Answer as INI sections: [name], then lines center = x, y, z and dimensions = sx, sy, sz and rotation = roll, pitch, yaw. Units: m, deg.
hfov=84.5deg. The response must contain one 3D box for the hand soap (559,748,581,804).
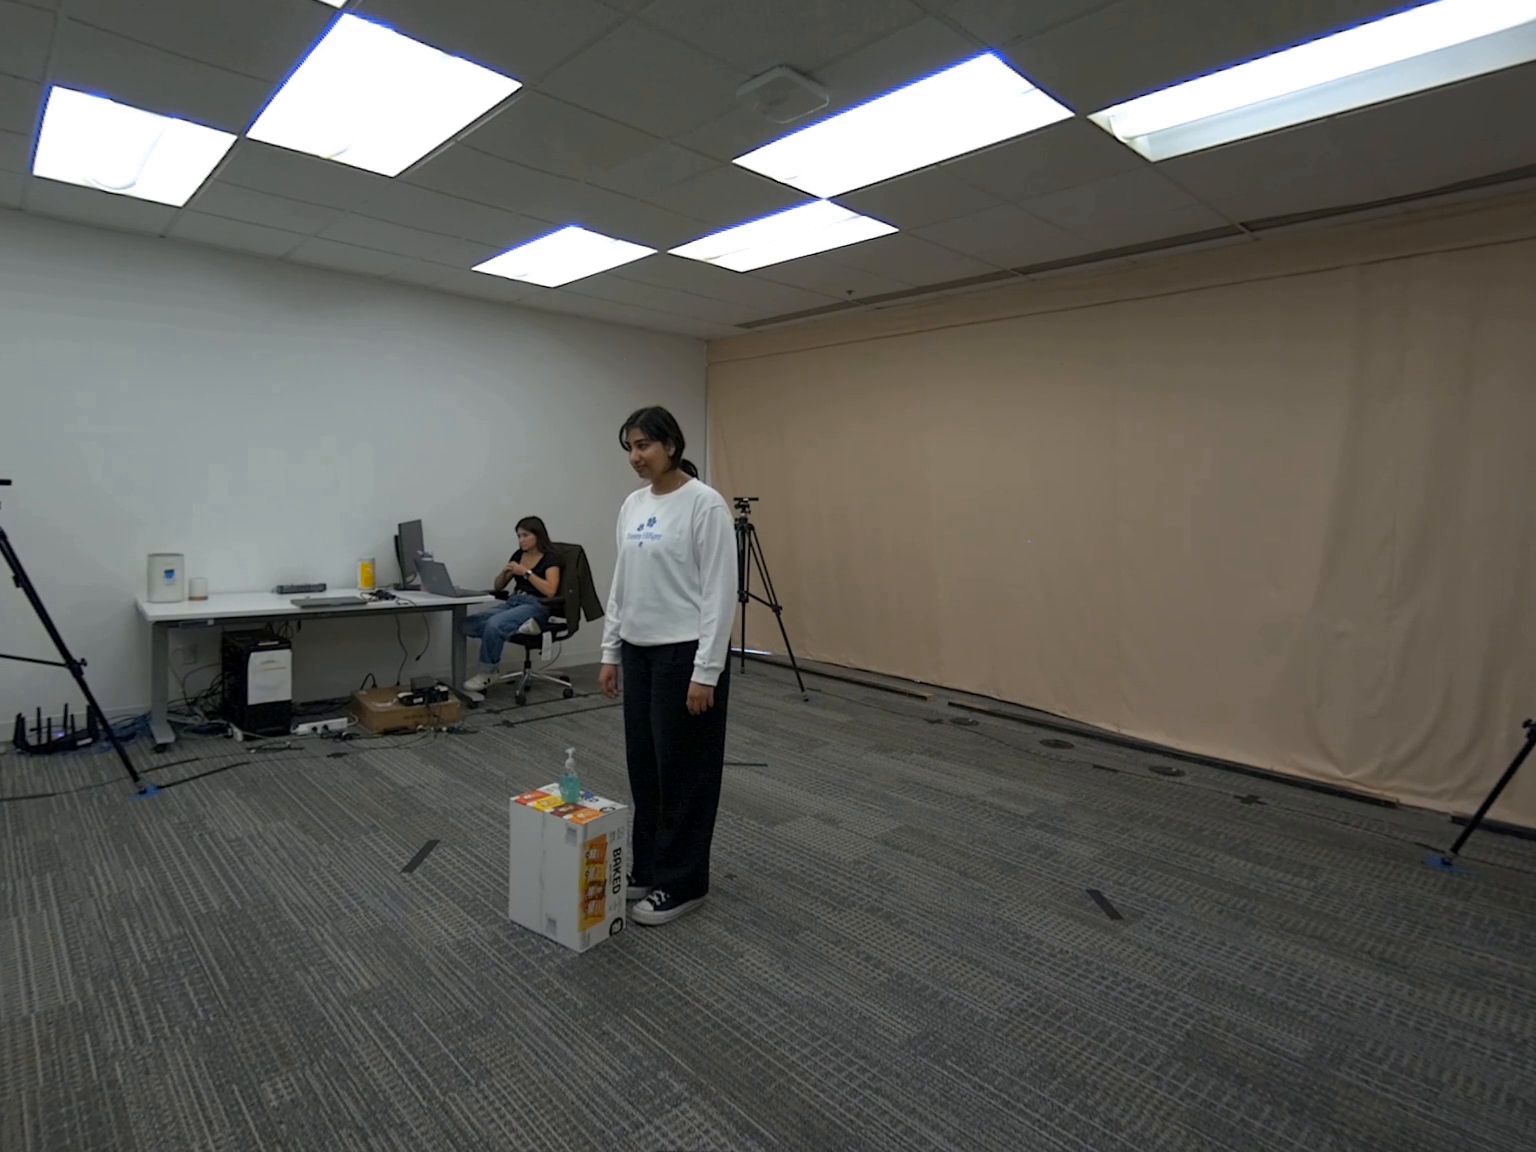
[hand soap]
center = -0.640, 0.646, 2.720
dimensions = 0.087, 0.168, 0.042
rotation = 6, 4, 38
